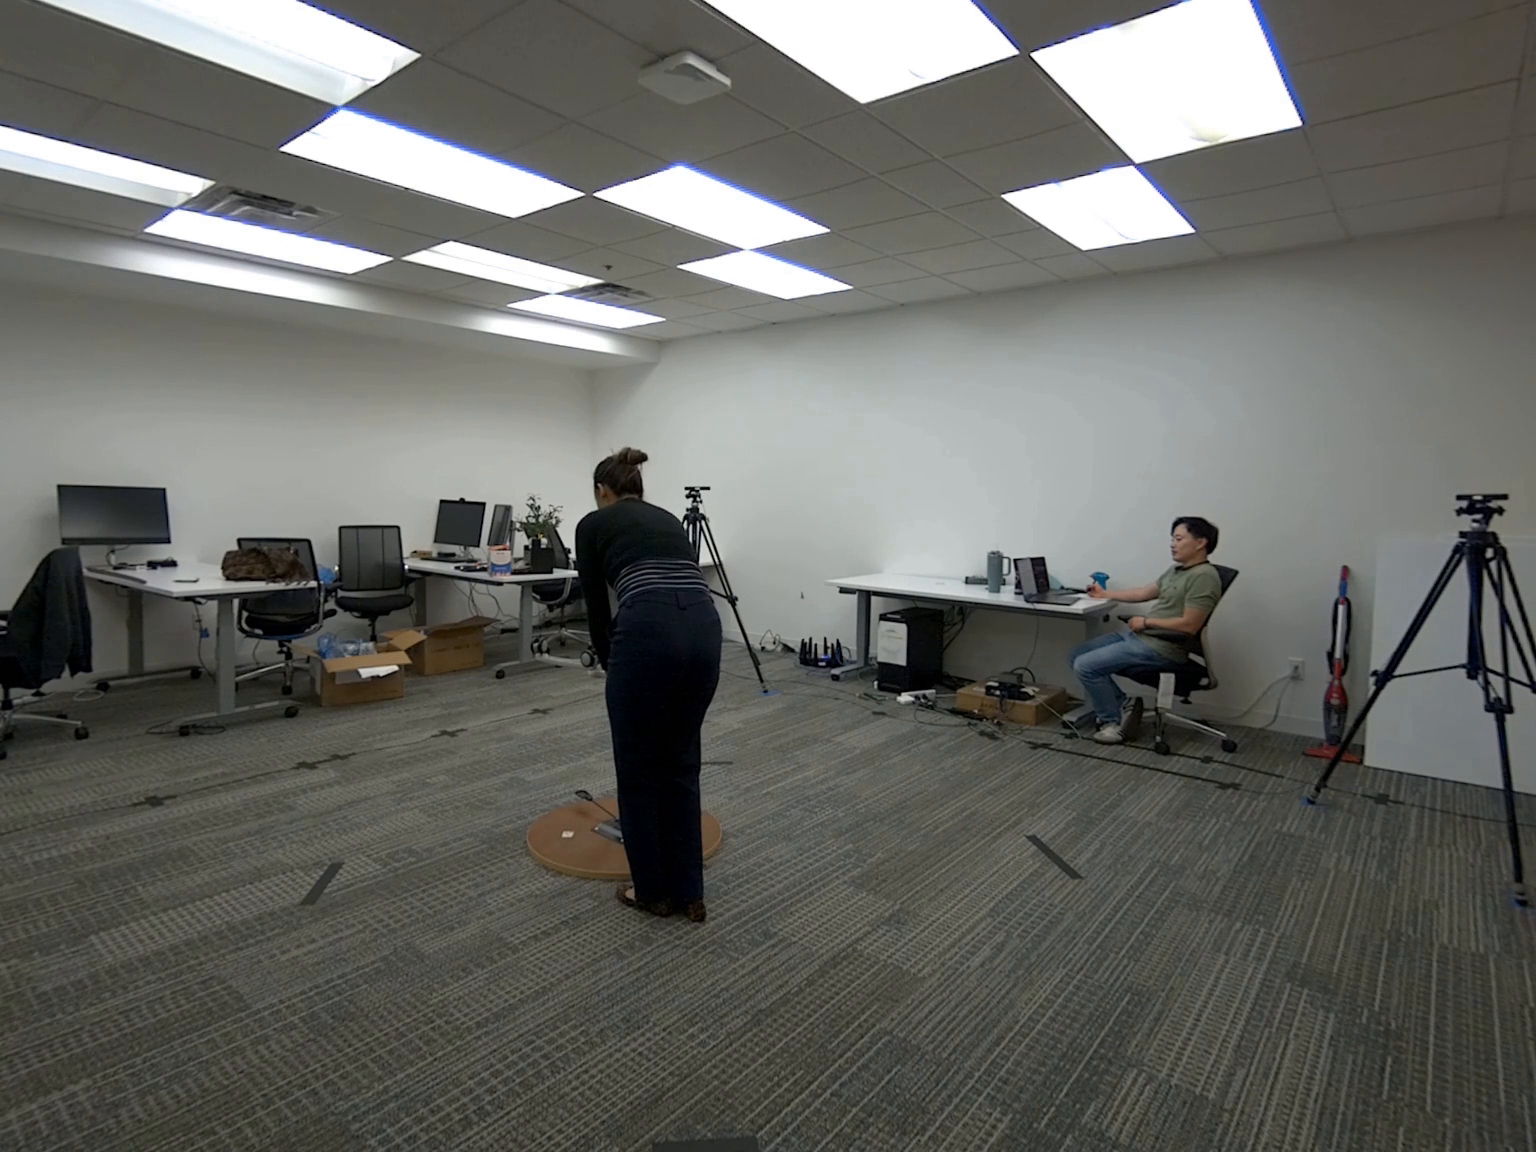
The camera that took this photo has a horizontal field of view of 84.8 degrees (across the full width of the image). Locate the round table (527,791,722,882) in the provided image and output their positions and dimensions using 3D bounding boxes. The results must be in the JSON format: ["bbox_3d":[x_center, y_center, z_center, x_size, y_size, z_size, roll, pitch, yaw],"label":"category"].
[{"bbox_3d":[-0.573,0.640,3.357,0.763,0.791,0.768,0,4,-2],"label":"round table"}]
